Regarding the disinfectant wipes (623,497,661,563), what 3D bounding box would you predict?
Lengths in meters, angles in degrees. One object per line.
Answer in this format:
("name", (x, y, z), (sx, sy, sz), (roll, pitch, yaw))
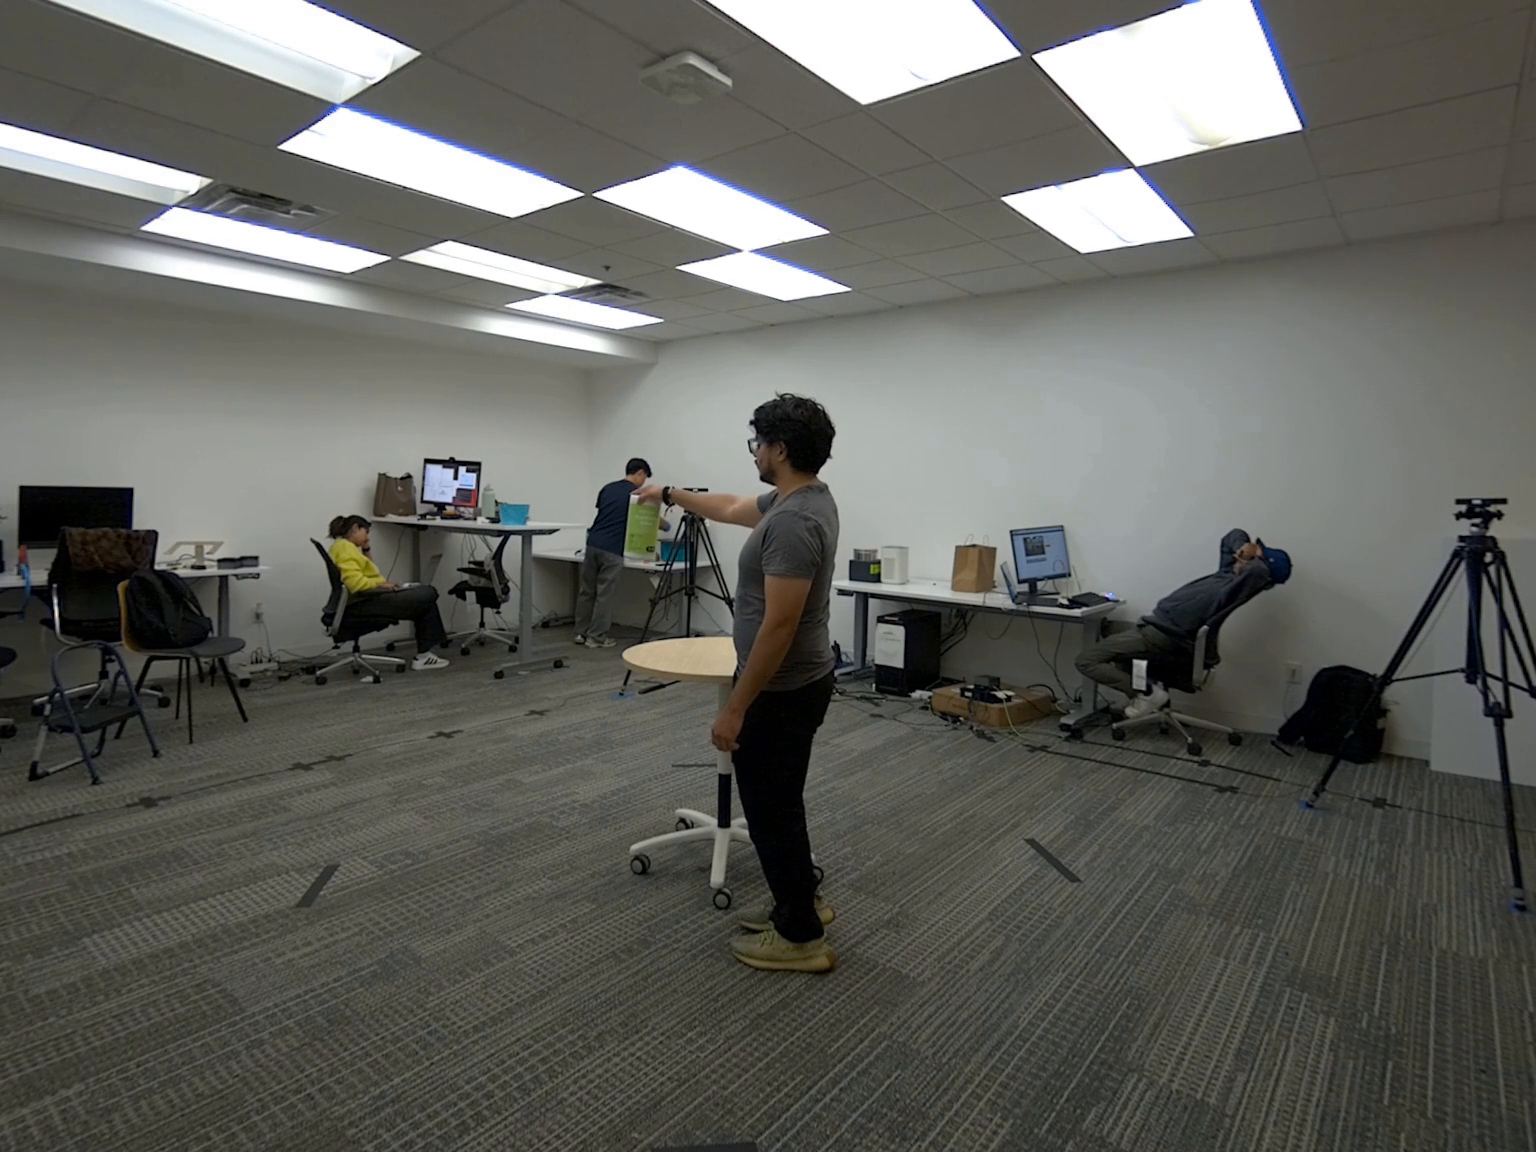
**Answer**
("disinfectant wipes", (-0.441, -0.166, 2.922), (0.117, 0.217, 0.118), (7, 3, -2))
